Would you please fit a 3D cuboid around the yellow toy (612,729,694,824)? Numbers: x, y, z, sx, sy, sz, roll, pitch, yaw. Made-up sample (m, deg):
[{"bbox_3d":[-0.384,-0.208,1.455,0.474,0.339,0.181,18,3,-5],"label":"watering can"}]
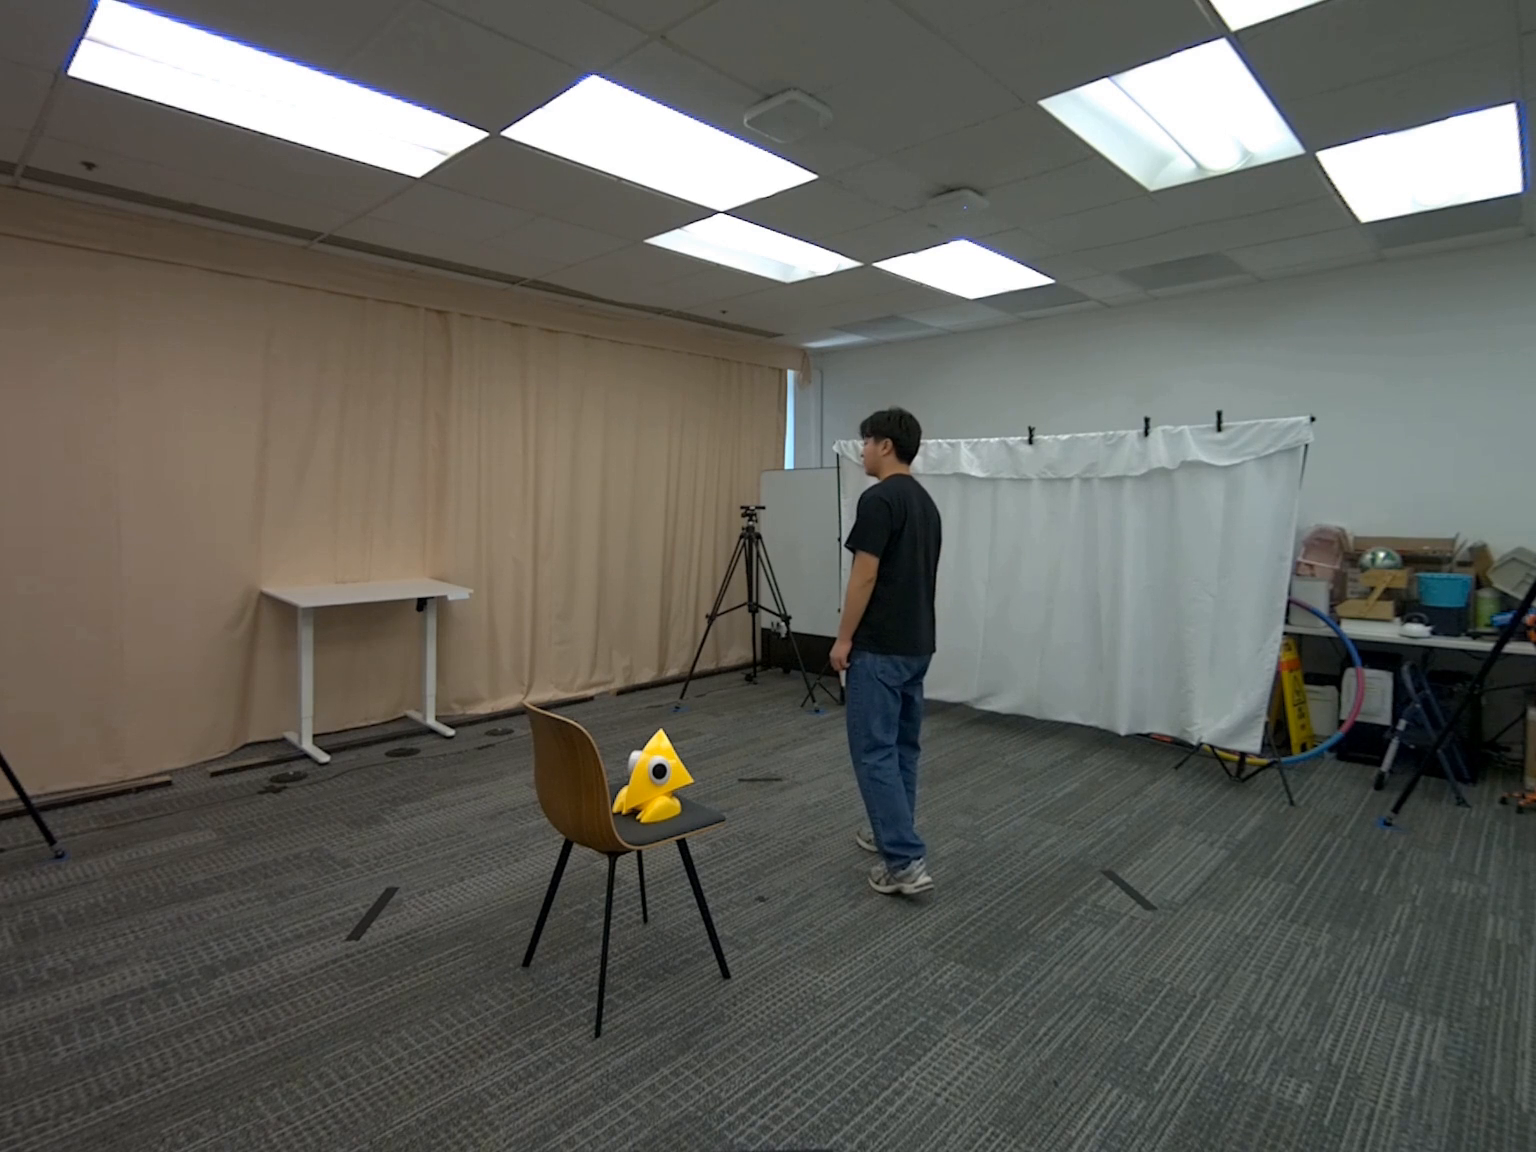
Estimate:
[{"bbox_3d":[-0.362,0.589,2.525,0.211,0.230,0.187,2,7,42],"label":"yellow toy"}]
